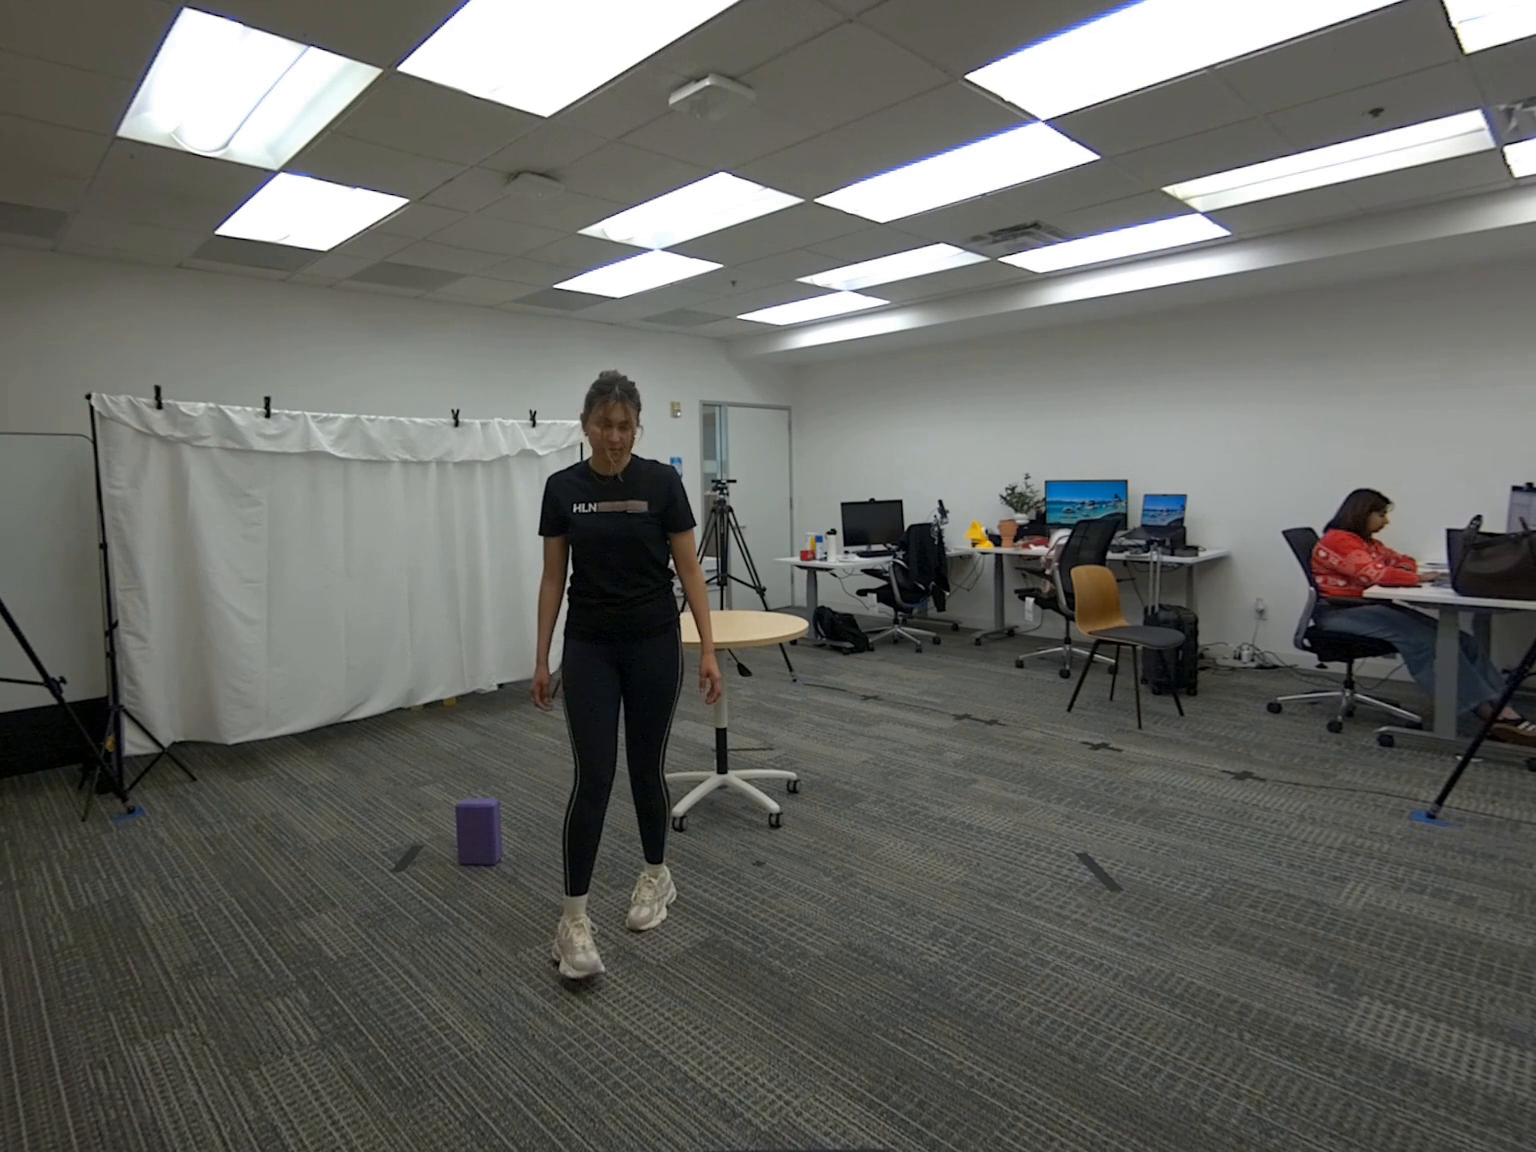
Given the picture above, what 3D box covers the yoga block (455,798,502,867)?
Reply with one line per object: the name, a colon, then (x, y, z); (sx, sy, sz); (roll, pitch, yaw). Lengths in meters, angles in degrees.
yoga block: (-1.071, 0.947, 3.167); (0.150, 0.228, 0.076); (-2, 6, 7)
